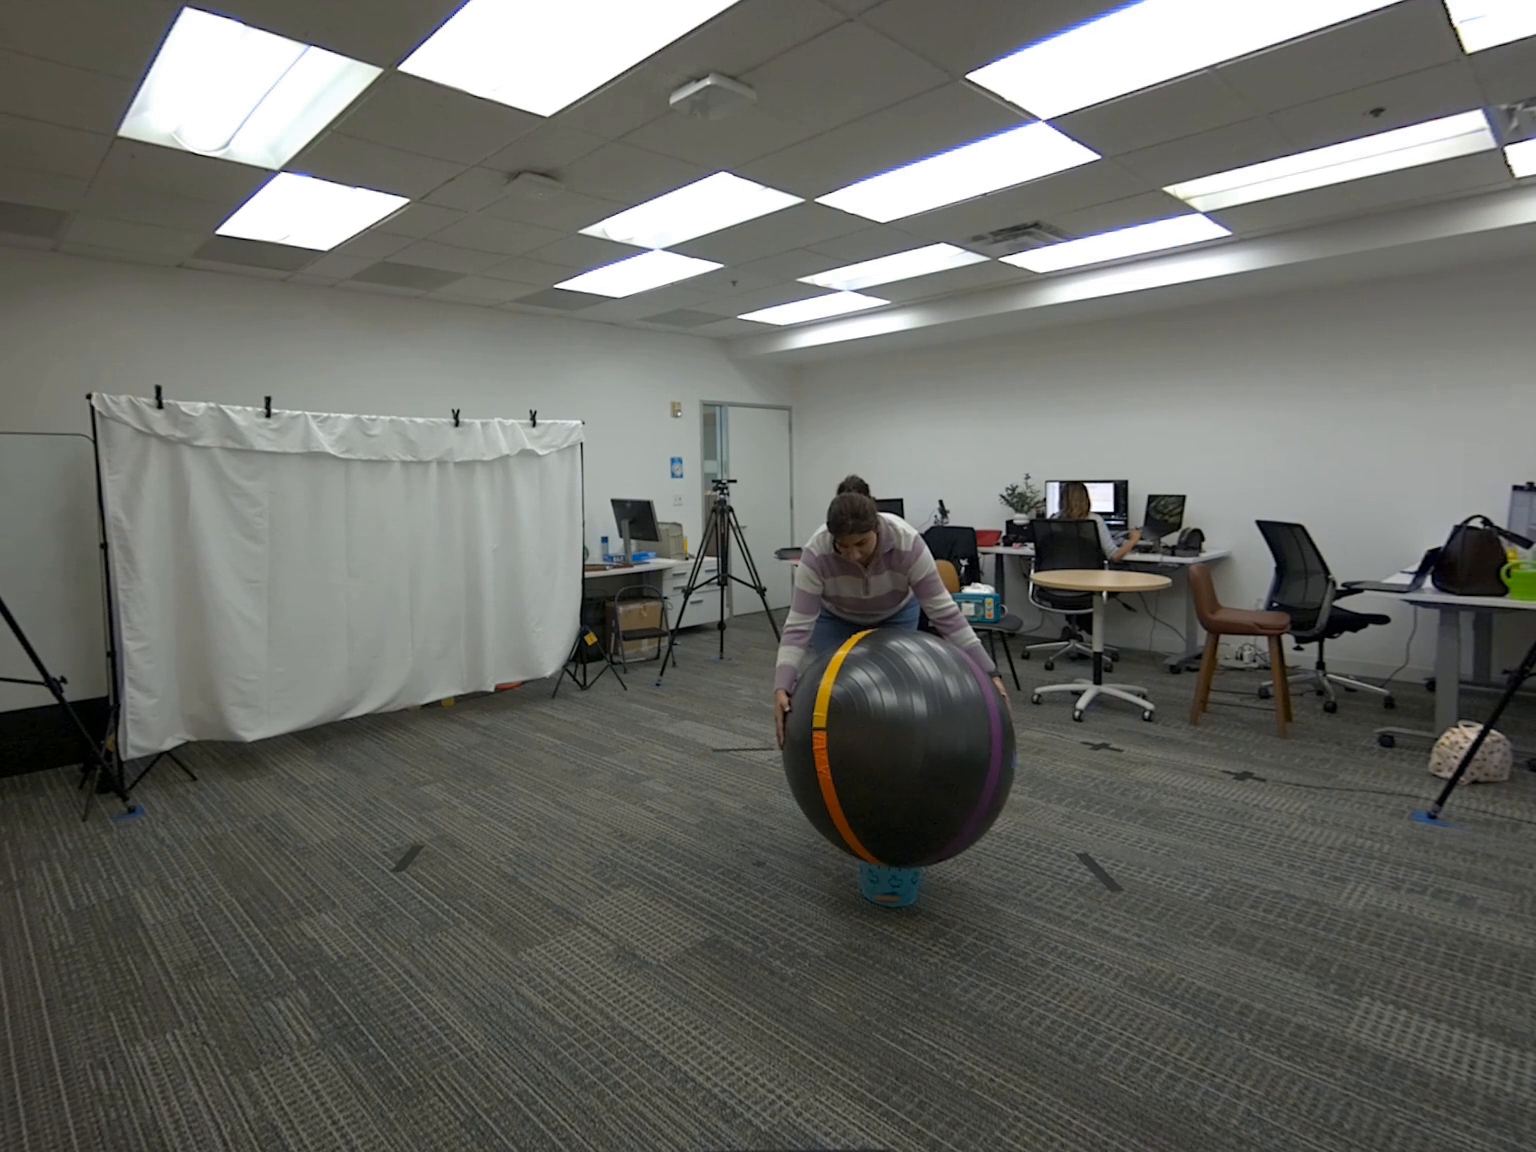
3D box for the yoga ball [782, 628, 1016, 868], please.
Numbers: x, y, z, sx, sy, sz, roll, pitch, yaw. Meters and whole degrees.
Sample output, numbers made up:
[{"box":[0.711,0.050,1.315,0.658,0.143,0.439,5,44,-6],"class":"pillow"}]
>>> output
[{"box":[0.427,0.558,2.808,0.757,0.755,0.762,-1,5,-2],"class":"yoga ball"}]
